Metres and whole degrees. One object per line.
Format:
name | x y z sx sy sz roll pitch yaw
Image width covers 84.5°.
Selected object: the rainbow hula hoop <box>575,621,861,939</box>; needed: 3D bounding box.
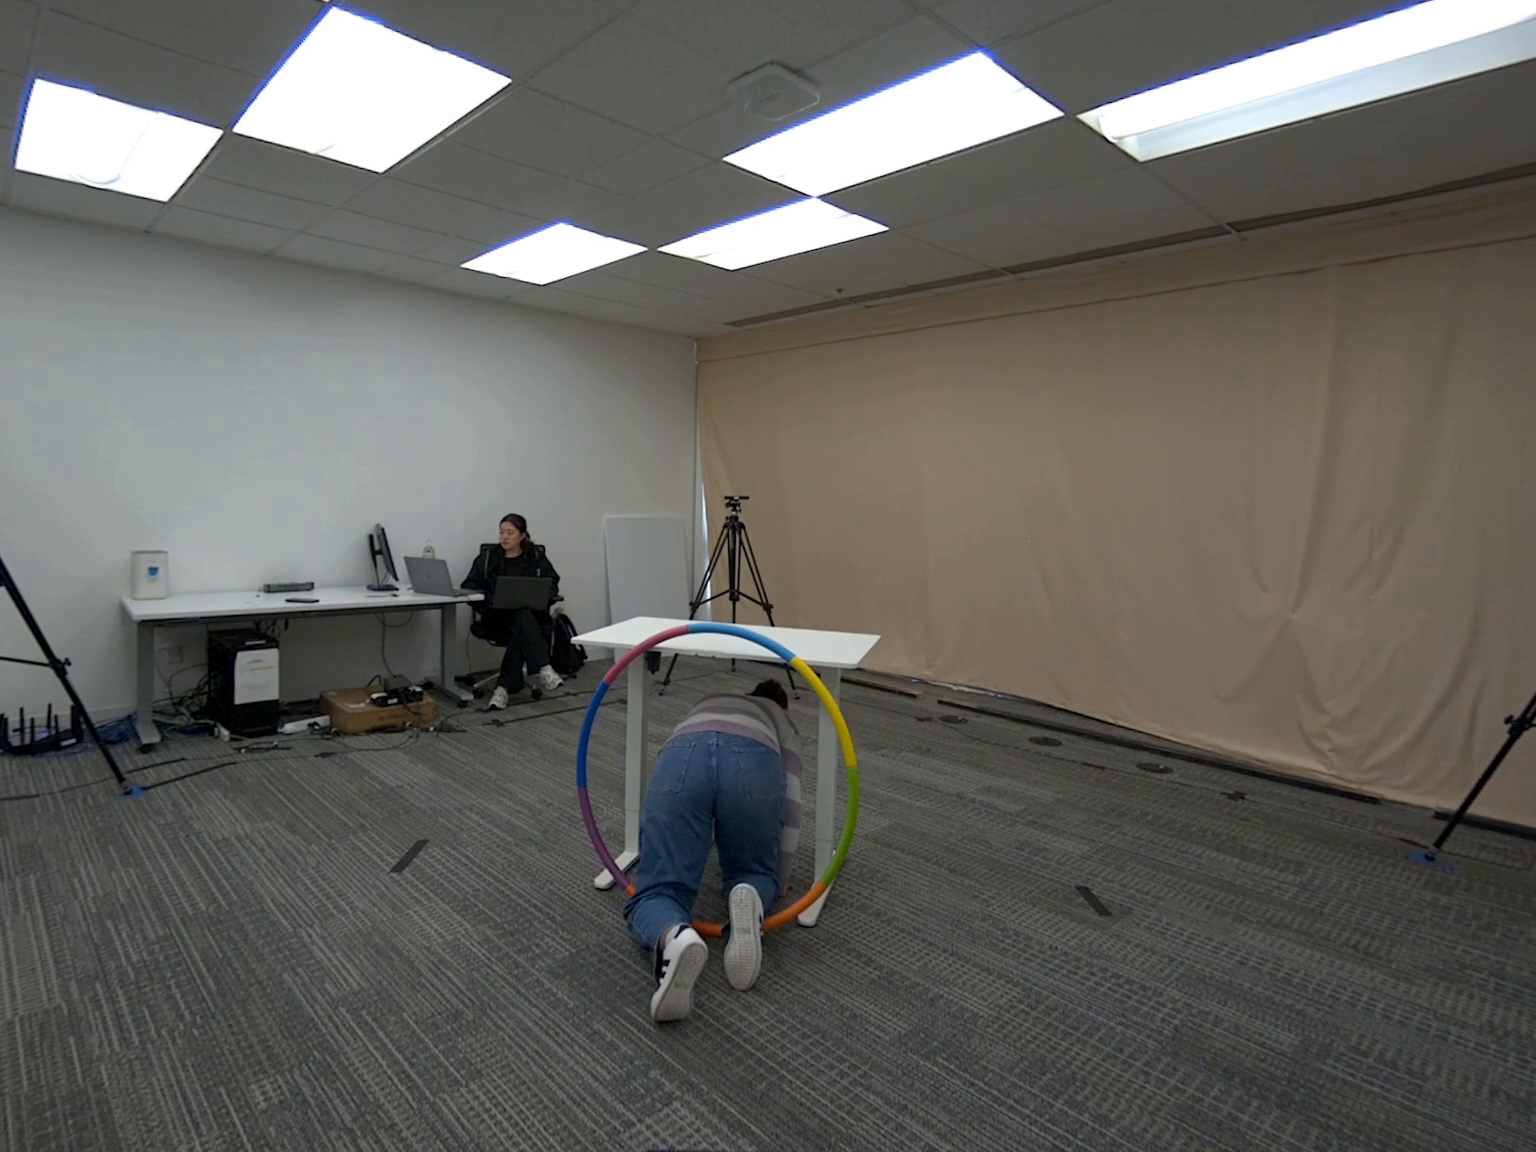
rainbow hula hoop | -0.201 0.658 2.706 0.995 0.981 0.035 3 -4 22
